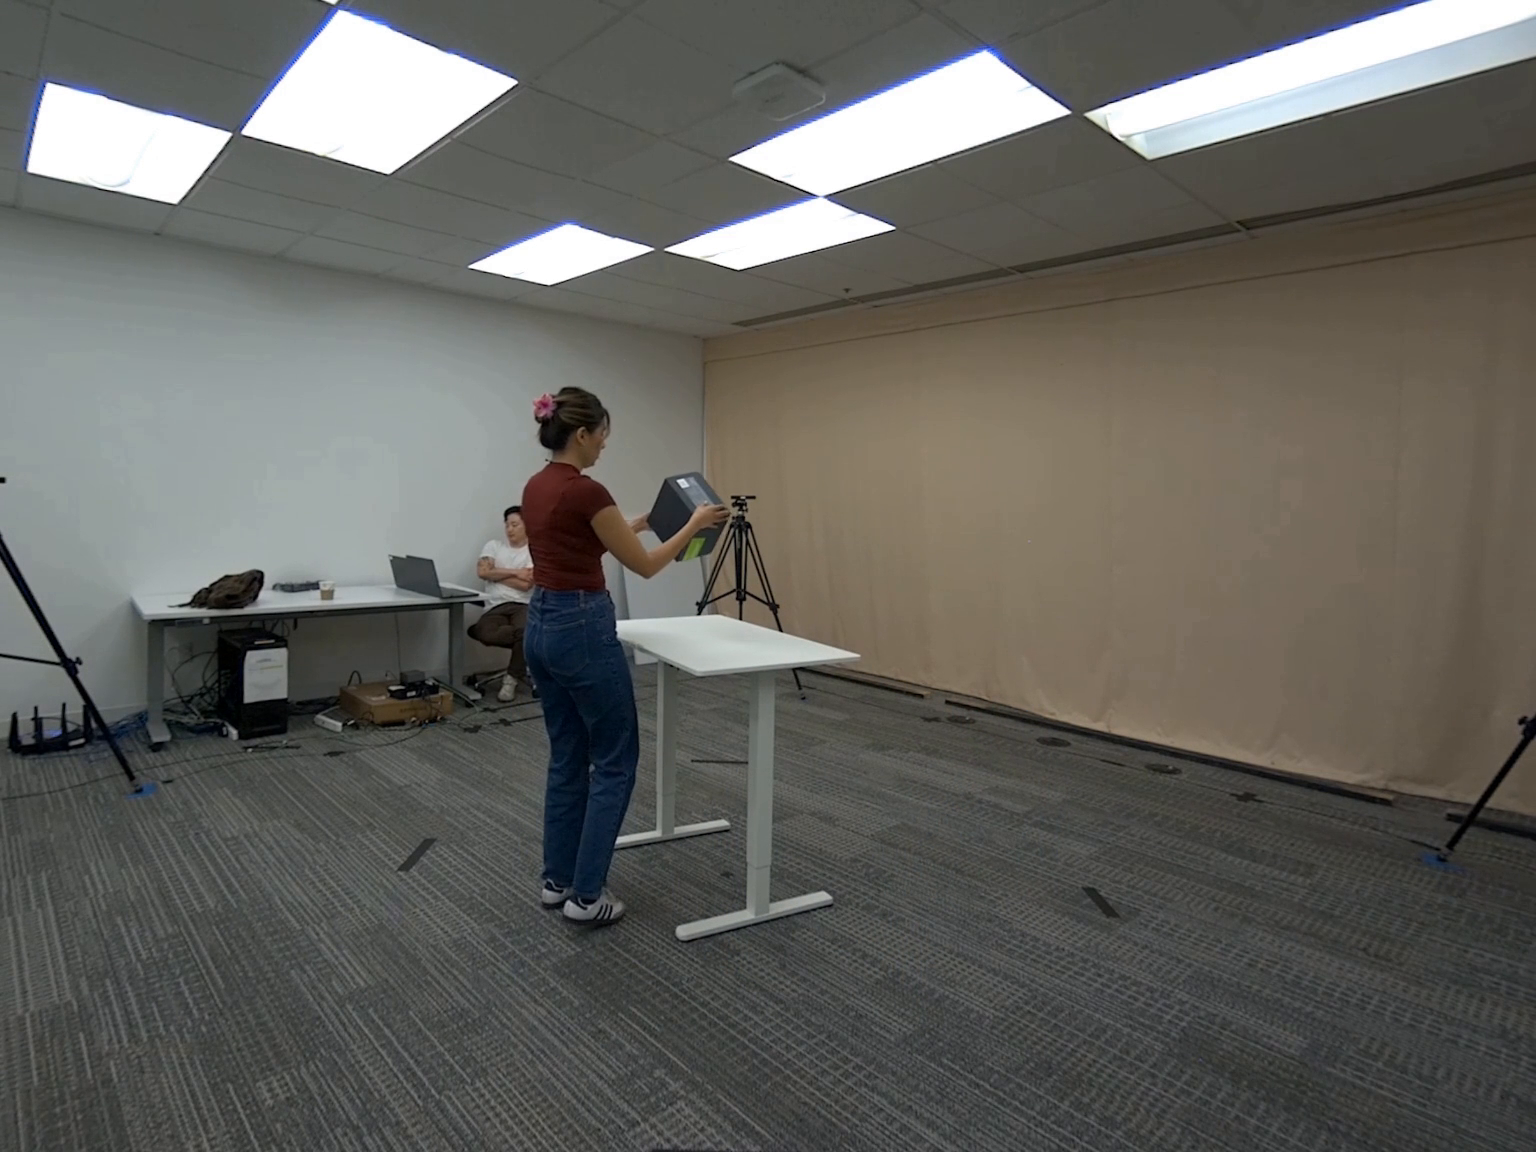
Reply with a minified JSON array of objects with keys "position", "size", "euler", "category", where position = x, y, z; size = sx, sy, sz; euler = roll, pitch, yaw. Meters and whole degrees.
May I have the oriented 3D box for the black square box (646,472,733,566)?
[{"position":[-0.290,-0.208,3.041],"size":[0.153,0.226,0.222],"euler":[-15,58,-41],"category":"black square box"}]
